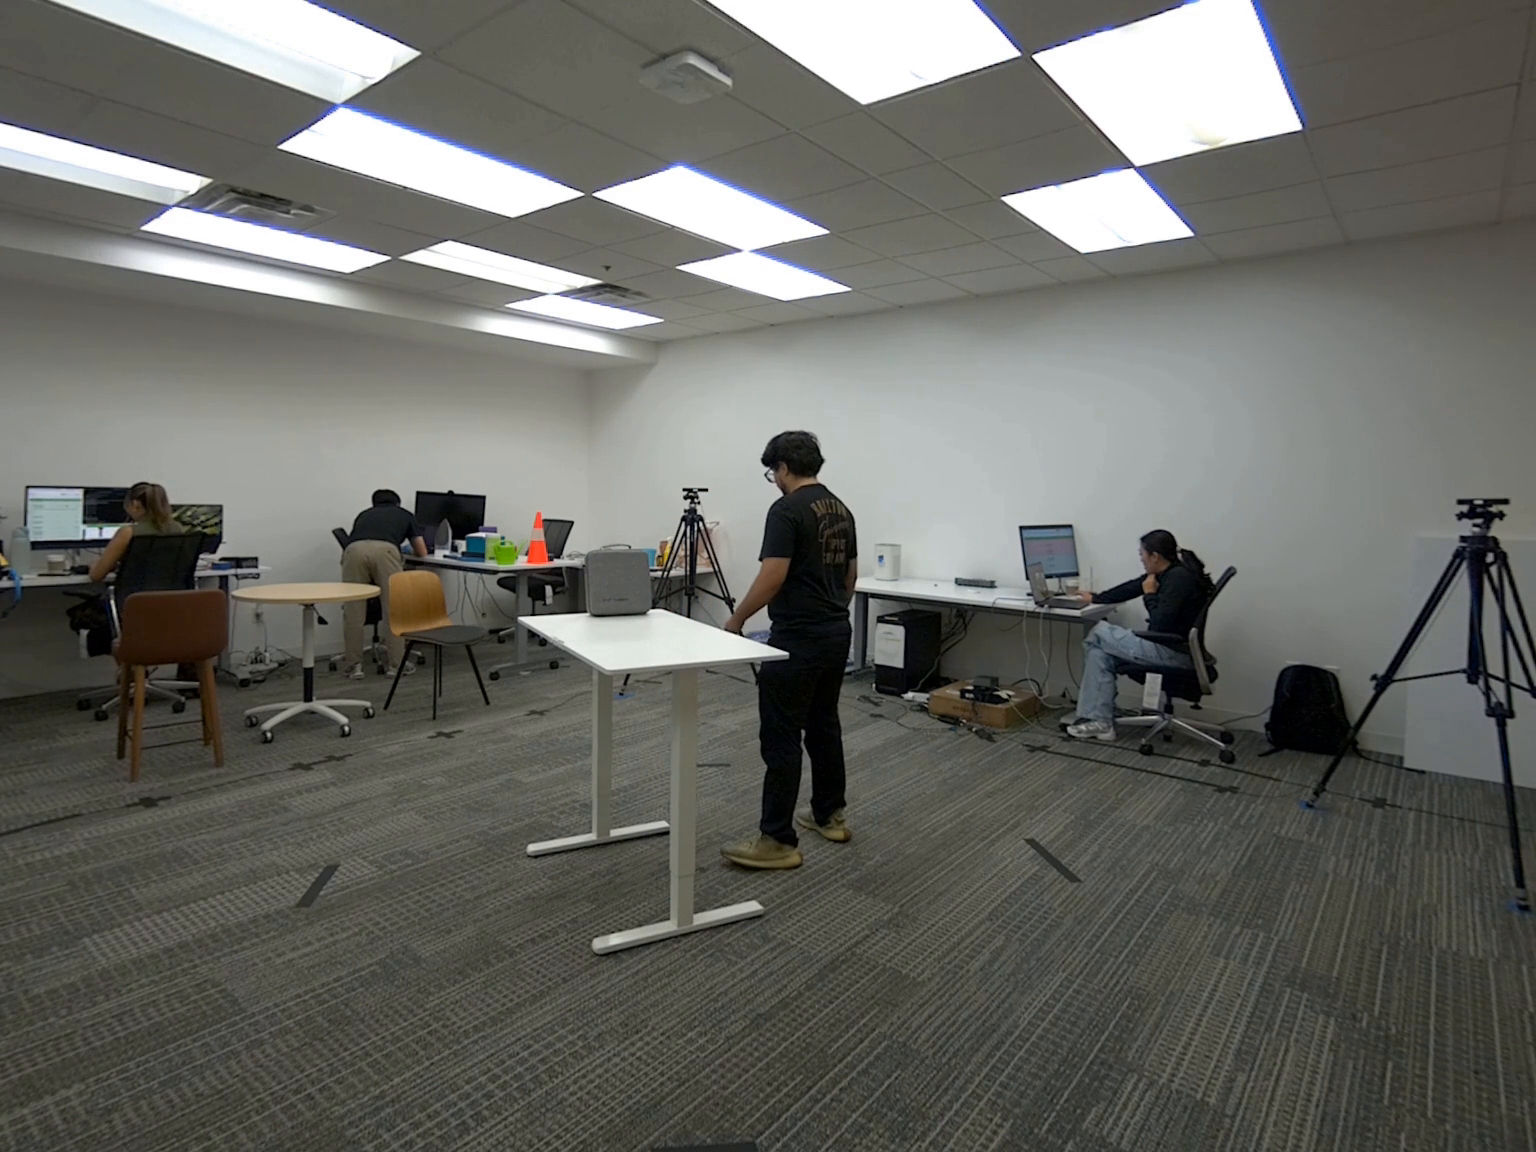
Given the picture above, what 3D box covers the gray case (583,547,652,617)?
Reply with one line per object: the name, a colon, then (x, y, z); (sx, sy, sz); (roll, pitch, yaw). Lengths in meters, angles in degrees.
gray case: (-0.607, 0.025, 3.382); (0.251, 0.262, 0.106); (-3, -6, -24)
